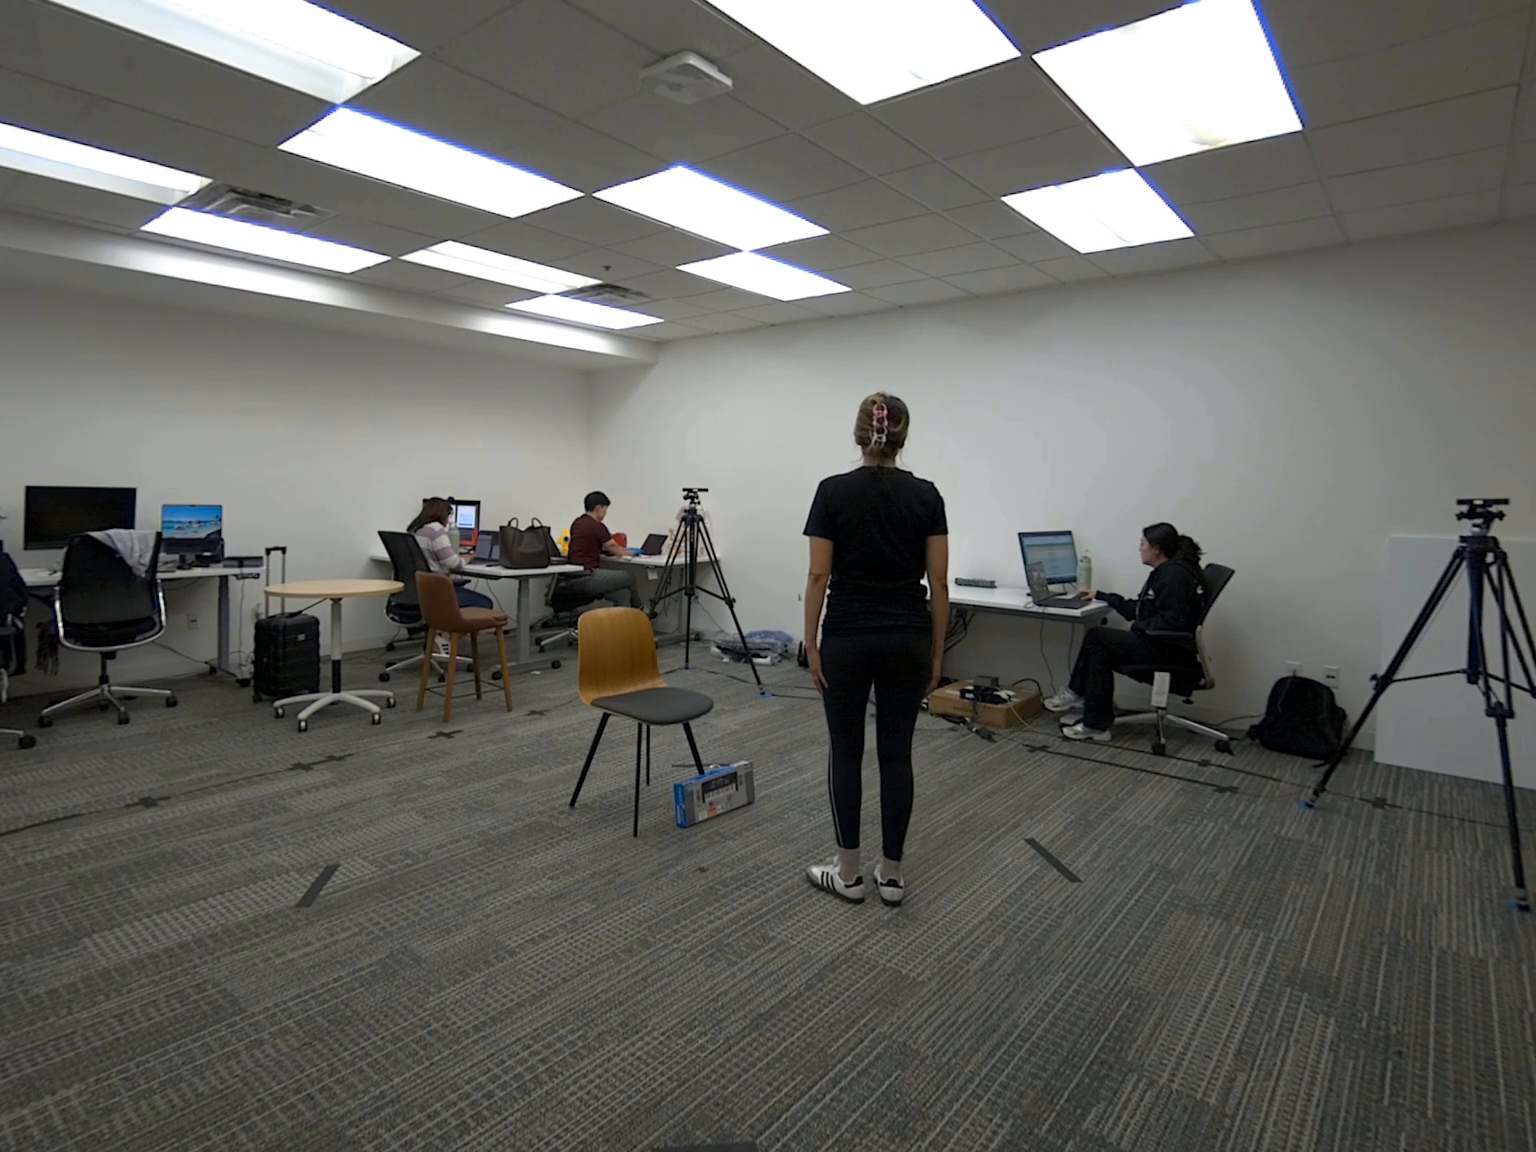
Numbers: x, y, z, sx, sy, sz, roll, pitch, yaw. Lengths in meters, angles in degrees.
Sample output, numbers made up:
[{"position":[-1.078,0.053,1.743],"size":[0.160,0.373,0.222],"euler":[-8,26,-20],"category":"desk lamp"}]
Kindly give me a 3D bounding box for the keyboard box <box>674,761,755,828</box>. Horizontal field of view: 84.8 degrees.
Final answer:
[{"position":[-0.230,0.930,3.656],"size":[0.061,0.176,0.424],"euler":[-6,0,42],"category":"keyboard box"}]
